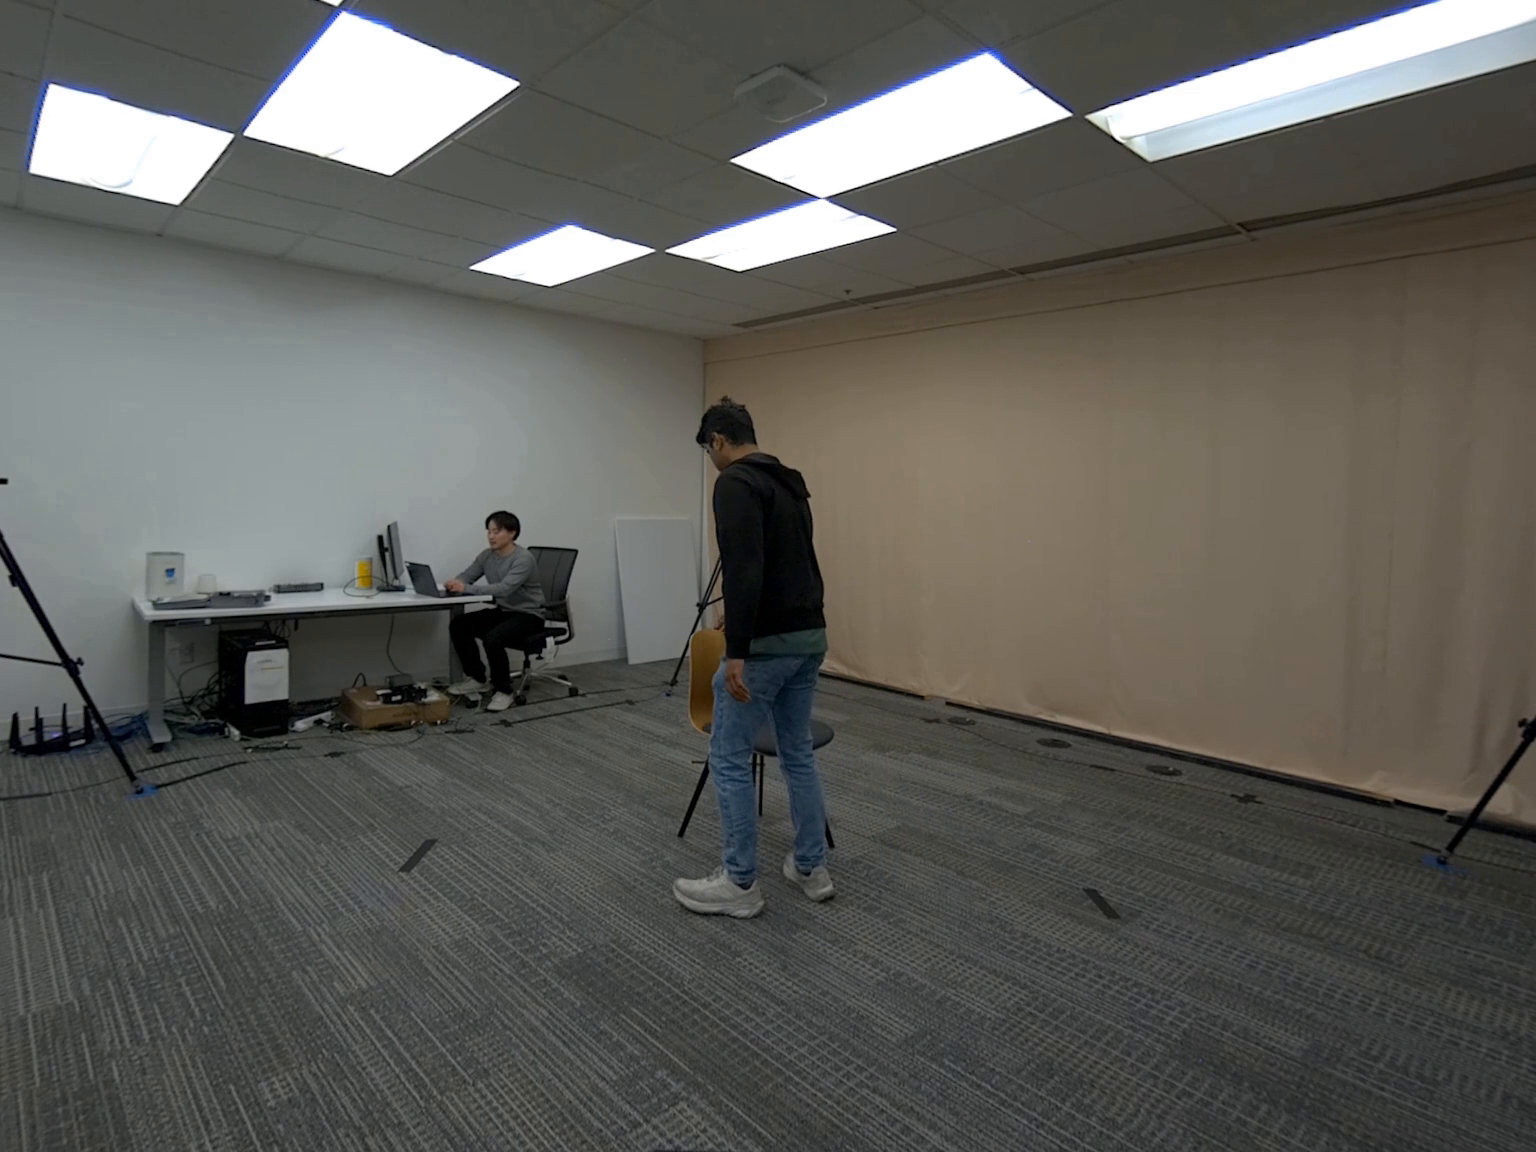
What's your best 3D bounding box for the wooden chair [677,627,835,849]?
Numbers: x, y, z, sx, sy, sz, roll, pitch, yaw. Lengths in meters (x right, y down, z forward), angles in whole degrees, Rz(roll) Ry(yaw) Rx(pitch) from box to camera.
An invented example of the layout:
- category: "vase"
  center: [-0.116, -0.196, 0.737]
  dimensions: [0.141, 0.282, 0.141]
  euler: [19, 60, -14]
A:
- category: "wooden chair"
  center: [-0.045, 0.659, 3.379]
  dimensions: [0.467, 0.877, 0.535]
  euler: [-1, 0, -40]
